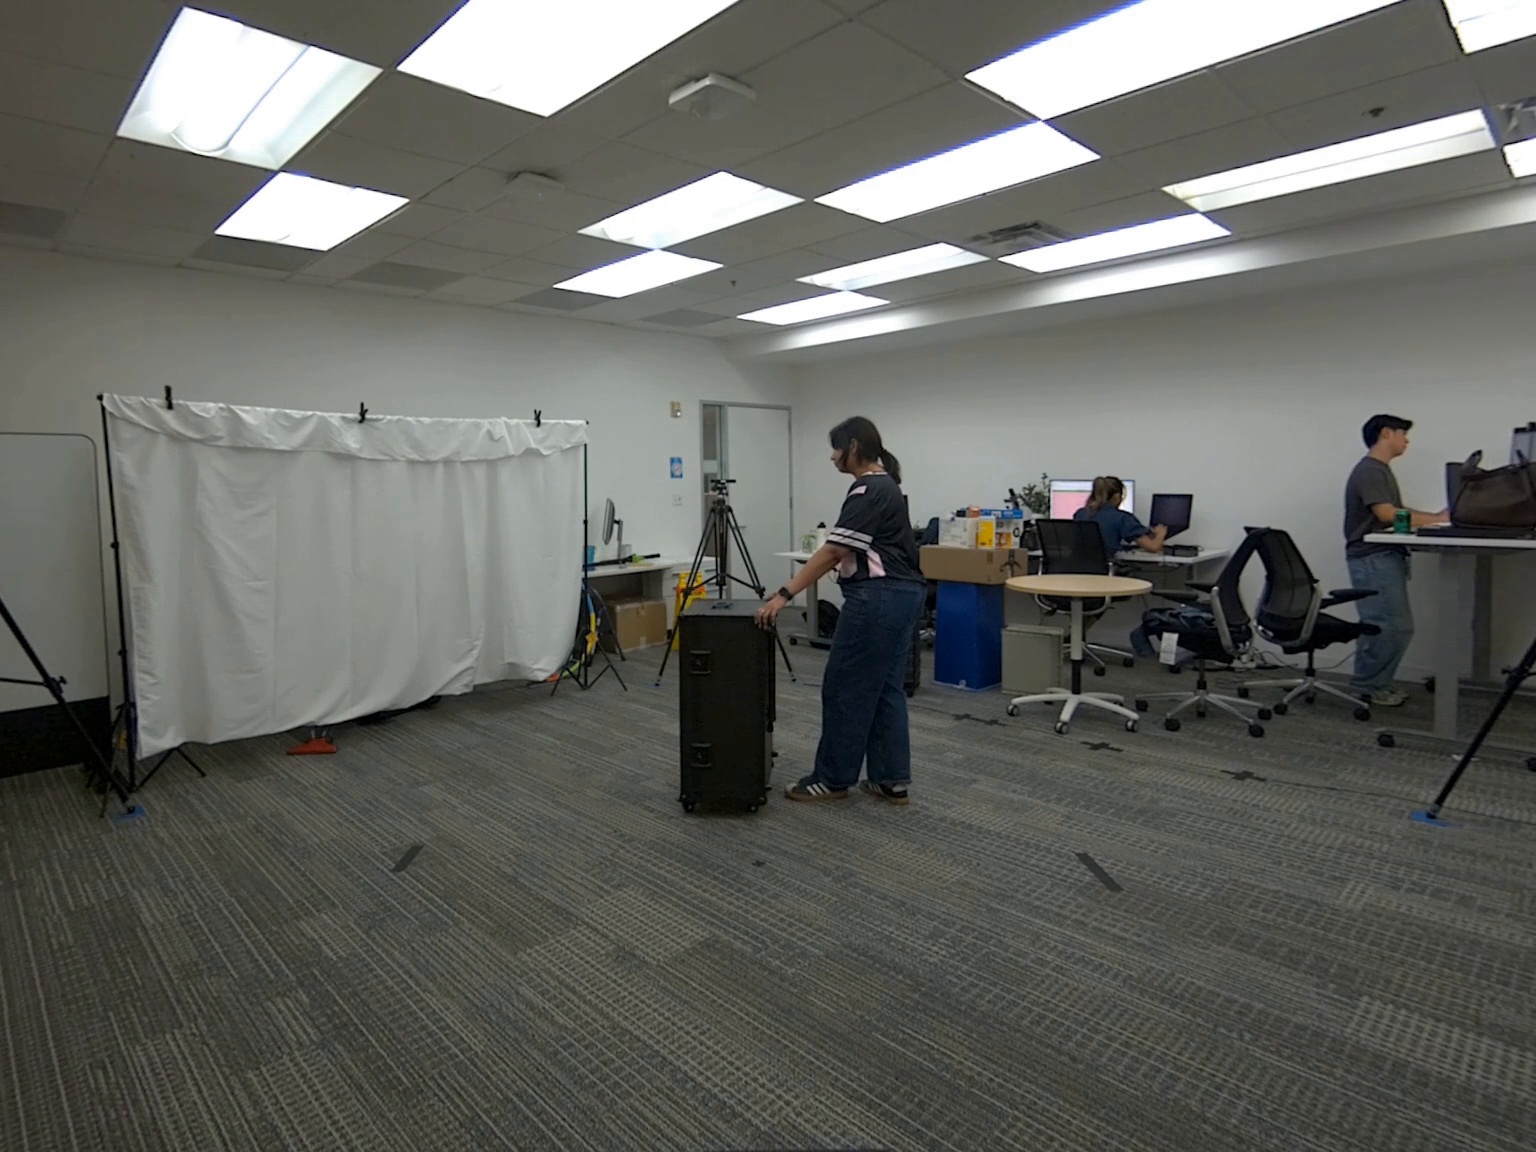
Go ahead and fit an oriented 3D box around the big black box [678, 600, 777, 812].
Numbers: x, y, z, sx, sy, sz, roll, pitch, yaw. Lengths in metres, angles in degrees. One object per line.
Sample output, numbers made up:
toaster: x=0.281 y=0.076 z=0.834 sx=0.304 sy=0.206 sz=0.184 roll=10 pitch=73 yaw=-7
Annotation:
big black box: x=-0.168 y=0.555 z=3.731 sx=0.388 sy=0.865 sz=0.522 roll=0 pitch=5 yaw=5
